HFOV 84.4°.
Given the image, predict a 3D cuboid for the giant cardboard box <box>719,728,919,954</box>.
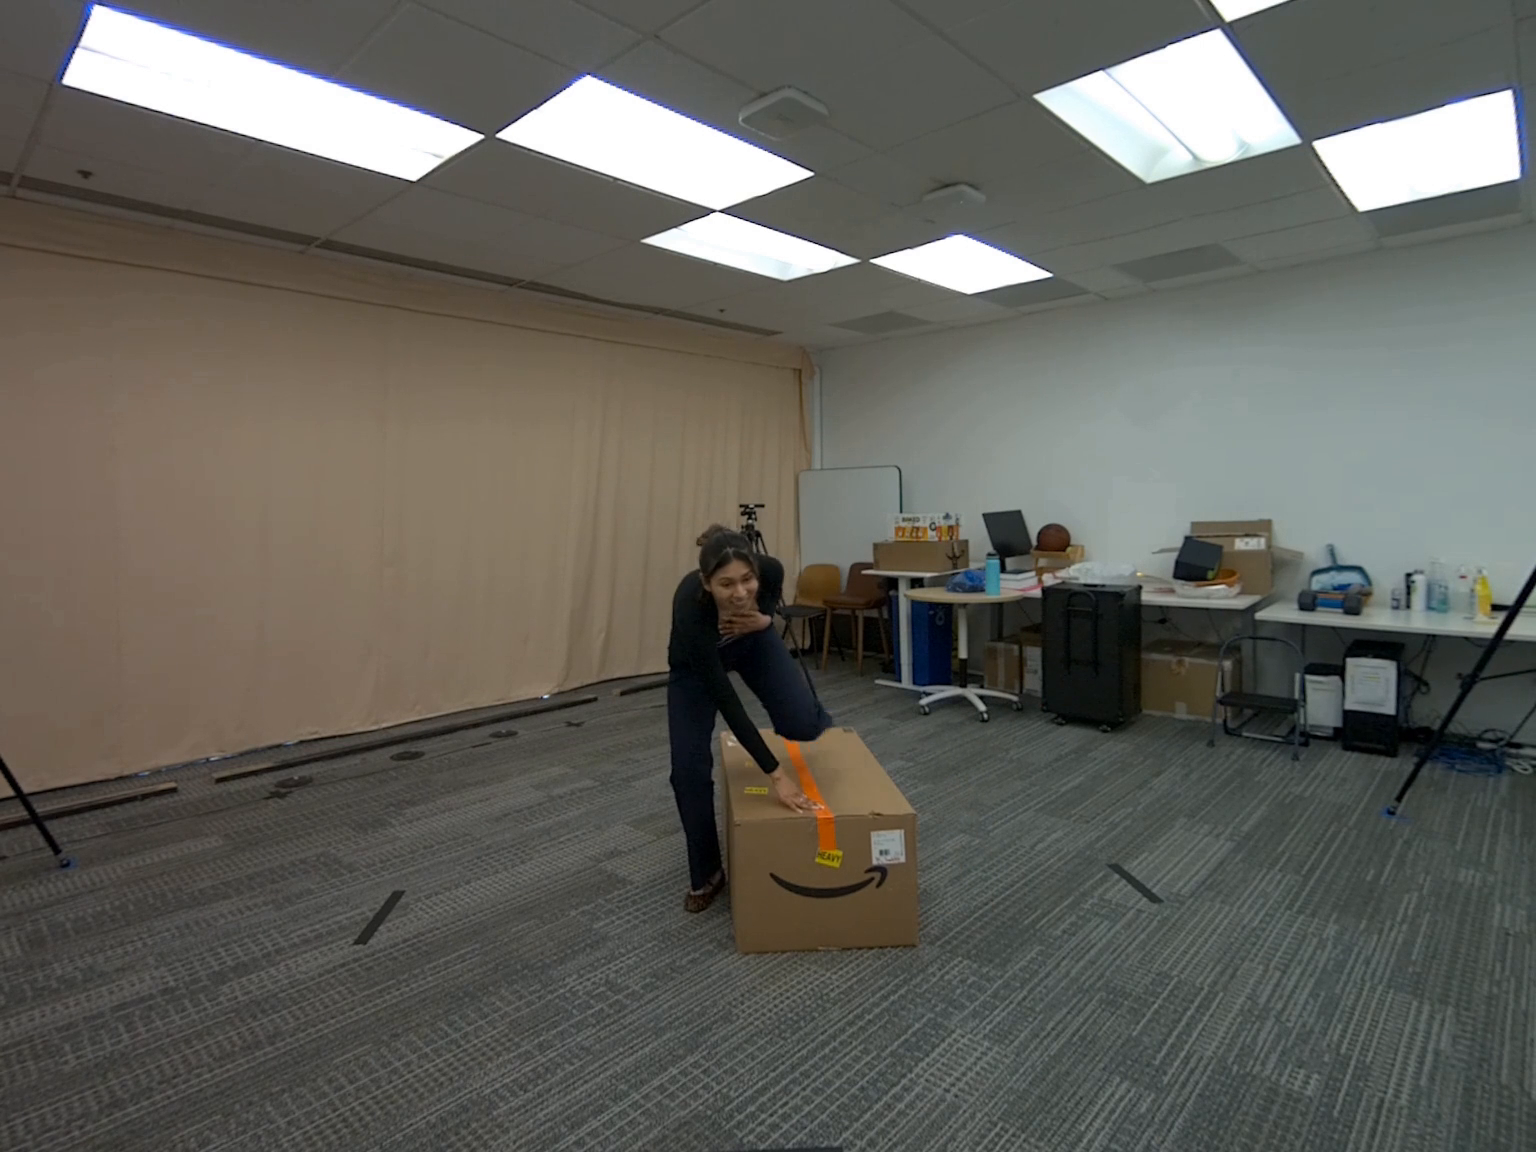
[{"bbox_3d":[0.138,0.908,3.119,0.575,0.425,1.033,-2,5,-5],"label":"giant cardboard box"}]
